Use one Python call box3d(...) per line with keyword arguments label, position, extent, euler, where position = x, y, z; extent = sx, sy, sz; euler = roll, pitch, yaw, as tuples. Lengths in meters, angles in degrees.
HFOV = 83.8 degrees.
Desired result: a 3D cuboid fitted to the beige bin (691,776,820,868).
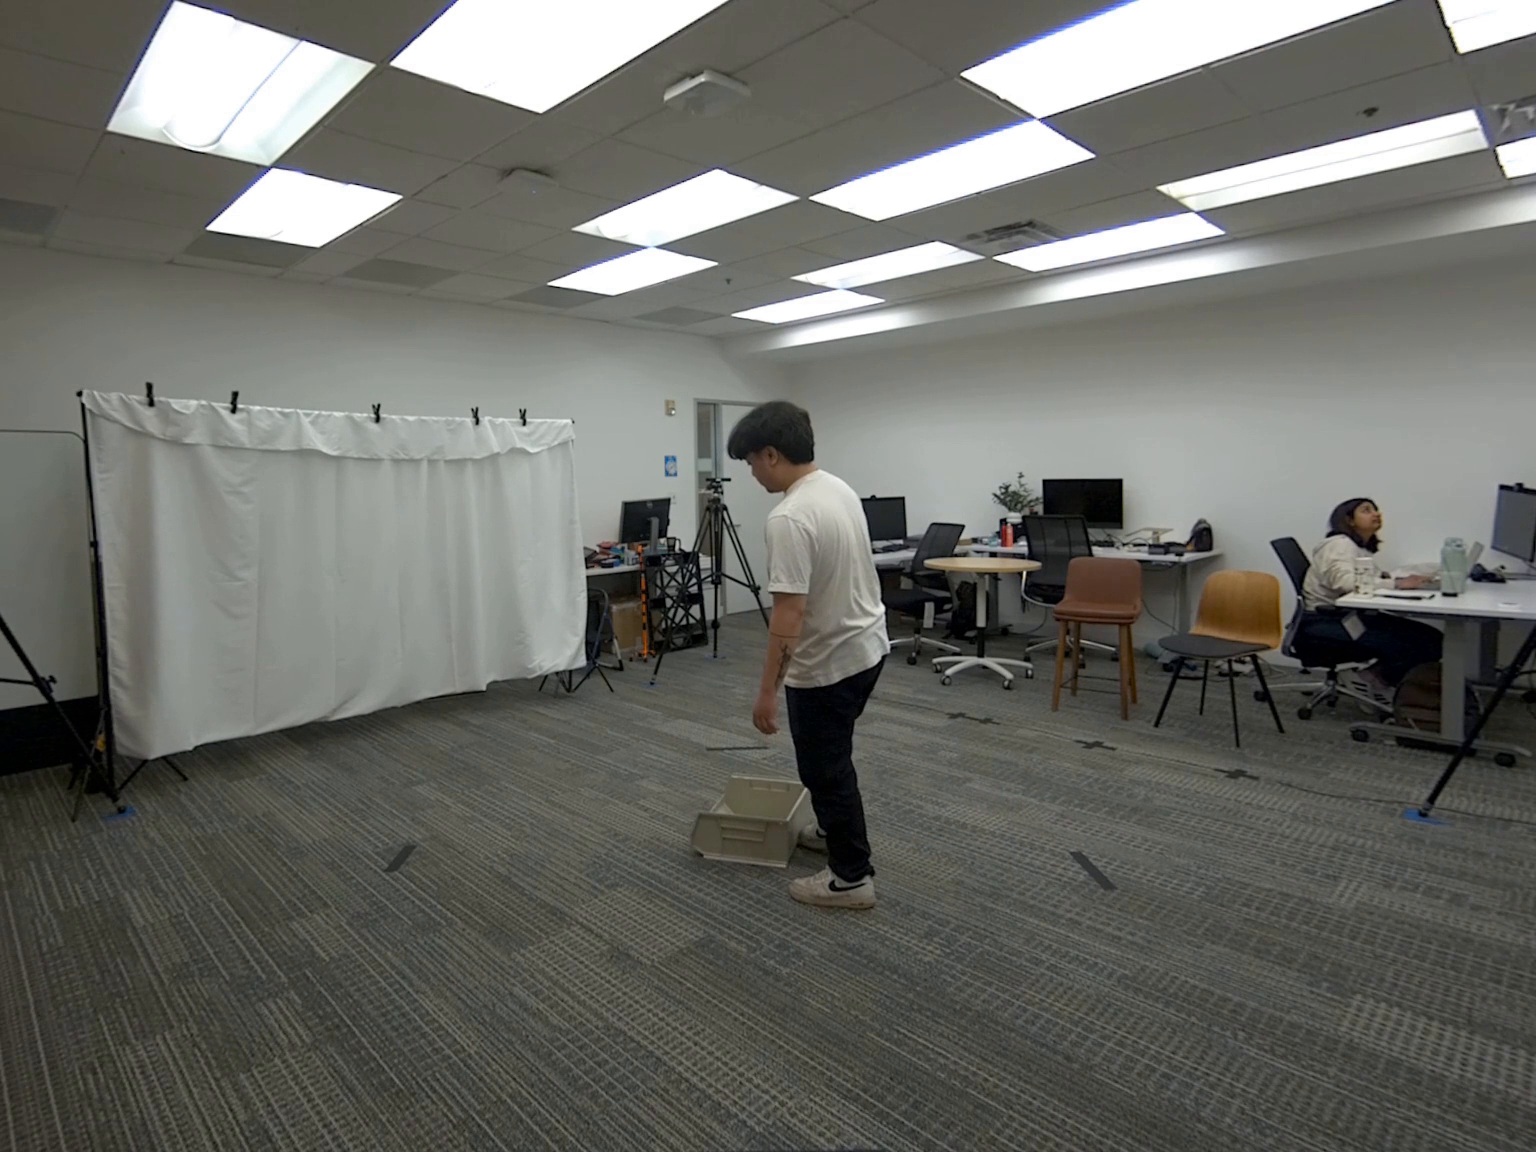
box3d(label="beige bin", position=(-0.057, 0.935, 3.298), extent=(0.383, 0.188, 0.417), euler=(1, 6, 15))
